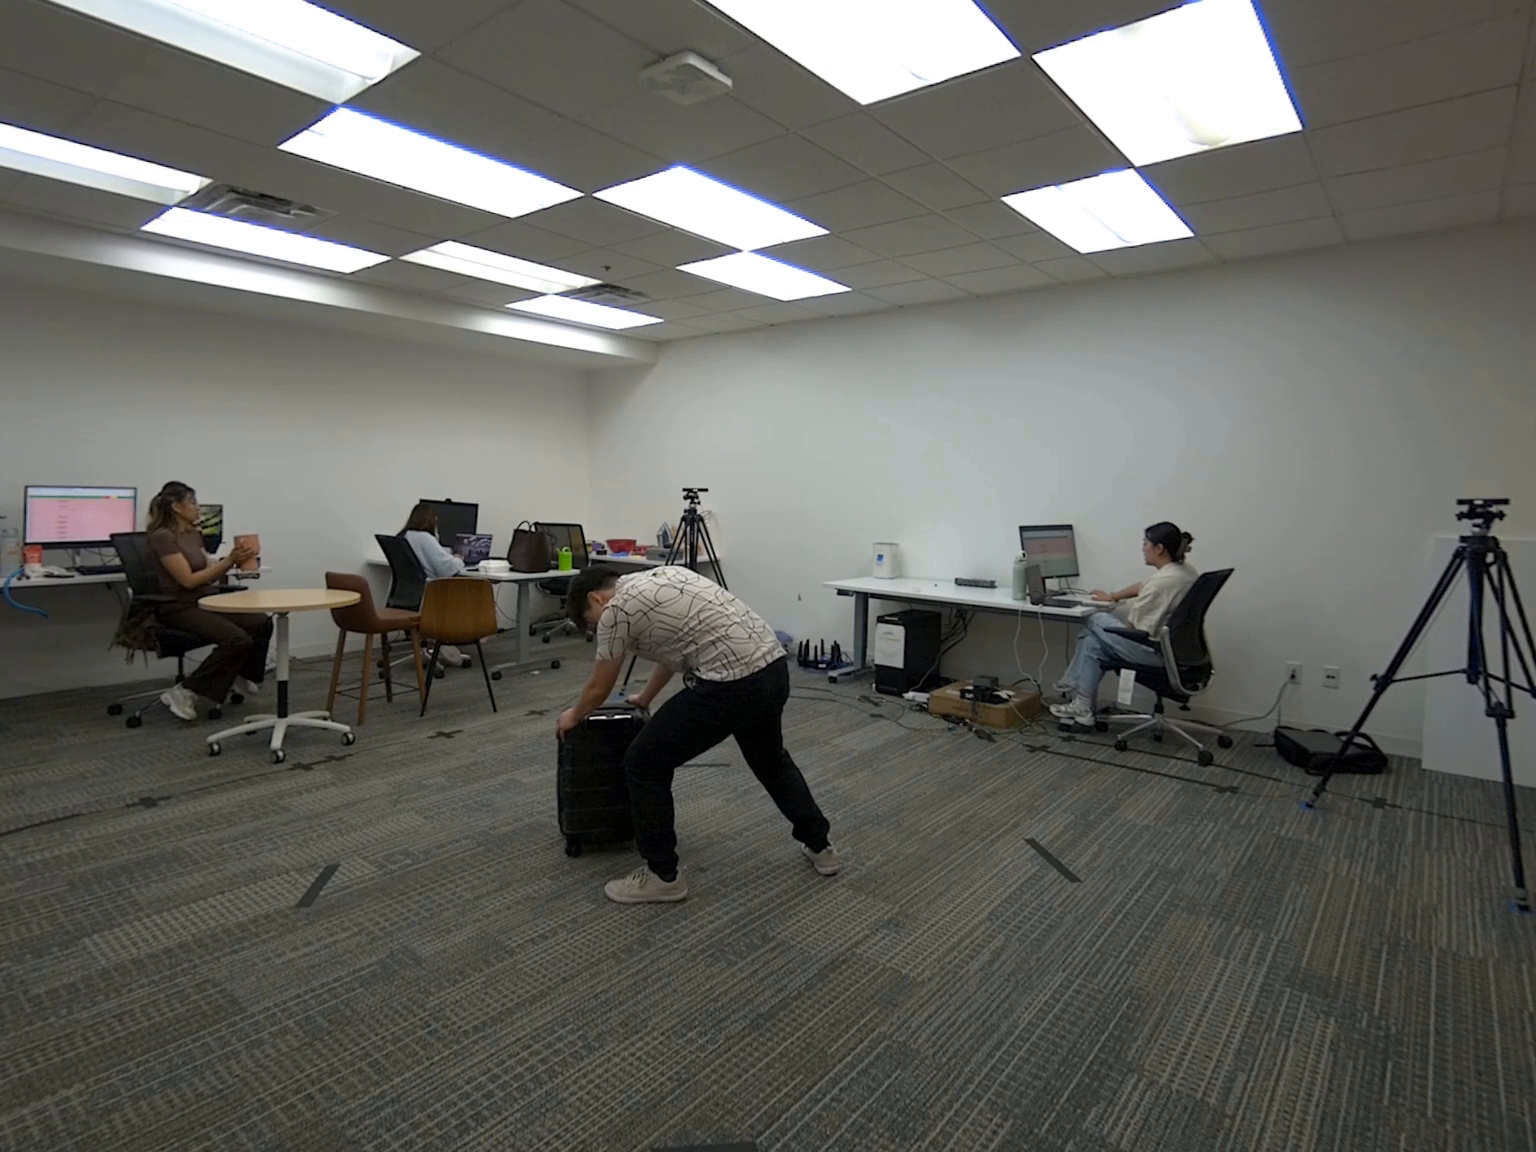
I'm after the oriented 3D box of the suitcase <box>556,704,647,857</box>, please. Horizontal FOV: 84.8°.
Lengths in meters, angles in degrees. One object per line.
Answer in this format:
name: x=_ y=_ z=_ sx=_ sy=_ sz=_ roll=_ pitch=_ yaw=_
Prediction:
suitcase: x=-0.652 y=0.766 z=3.310 sx=0.368 sy=0.547 sz=0.254 roll=-1 pitch=5 yaw=-19
